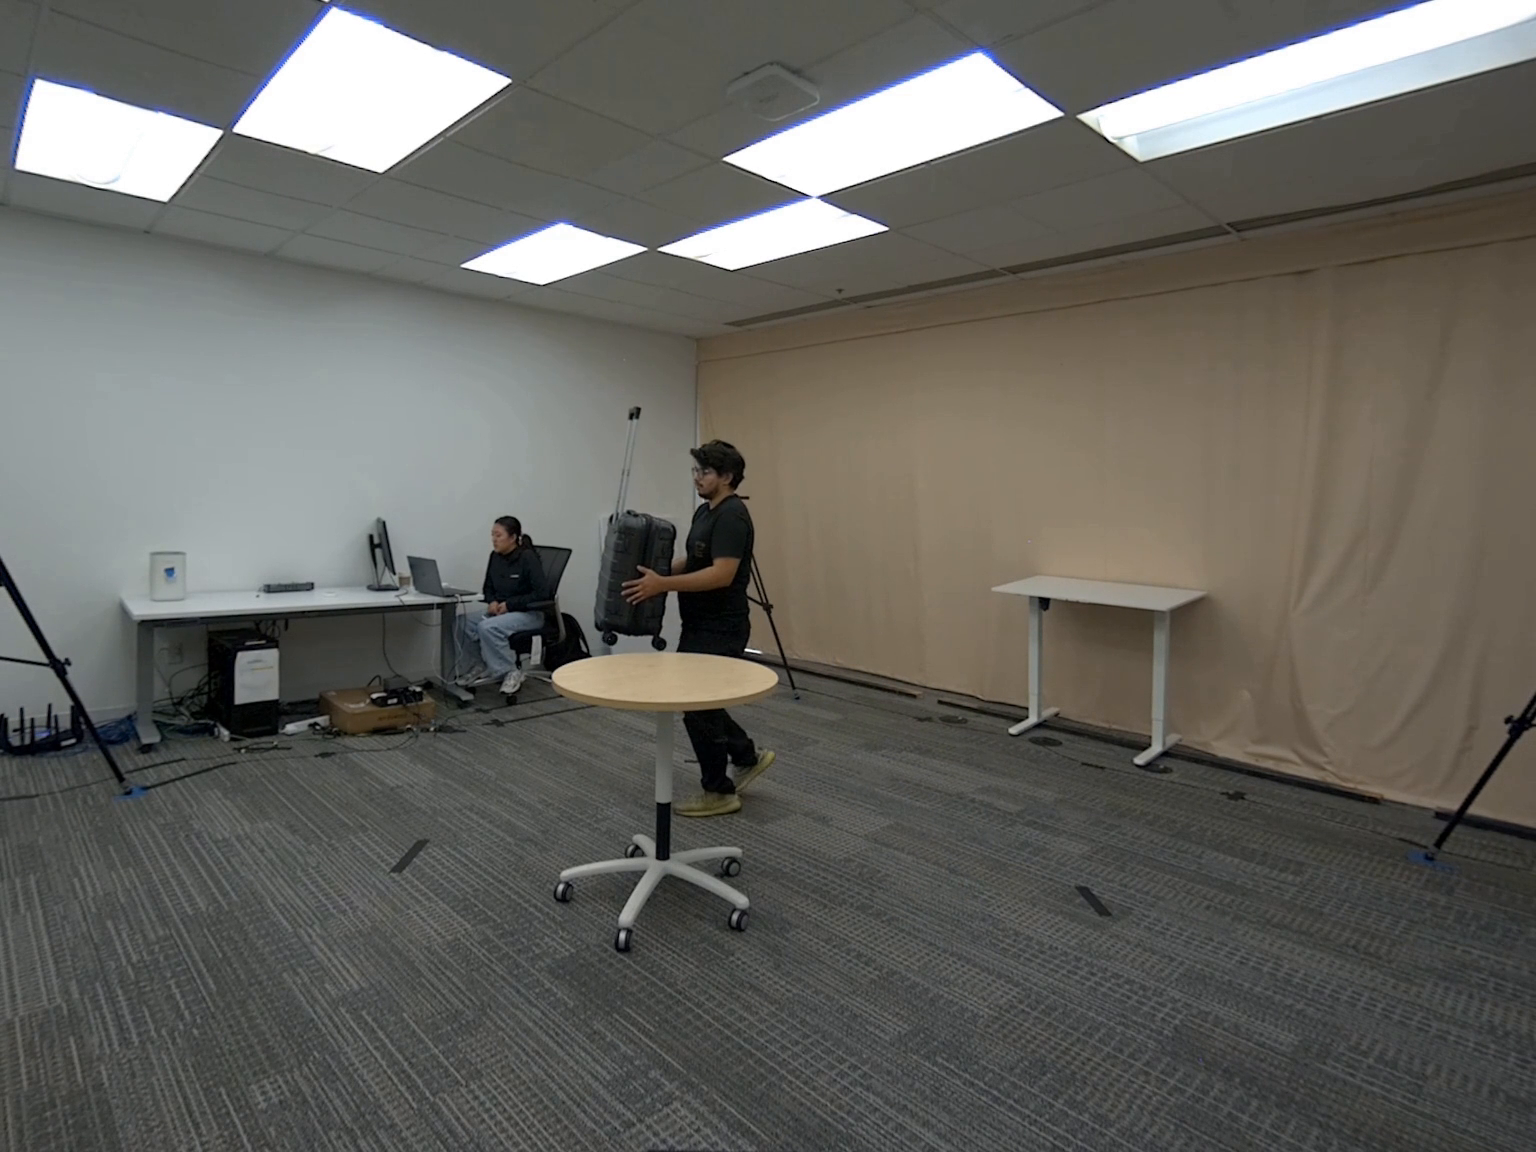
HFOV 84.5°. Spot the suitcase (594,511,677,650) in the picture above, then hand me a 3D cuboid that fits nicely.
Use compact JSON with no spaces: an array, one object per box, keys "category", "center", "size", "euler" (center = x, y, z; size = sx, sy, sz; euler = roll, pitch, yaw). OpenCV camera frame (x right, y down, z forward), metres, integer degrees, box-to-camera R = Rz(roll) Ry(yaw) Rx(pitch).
[{"category":"suitcase","center":[-0.534,-0.205,3.589],"size":[0.254,0.976,0.389],"euler":[9,4,-13]}]
